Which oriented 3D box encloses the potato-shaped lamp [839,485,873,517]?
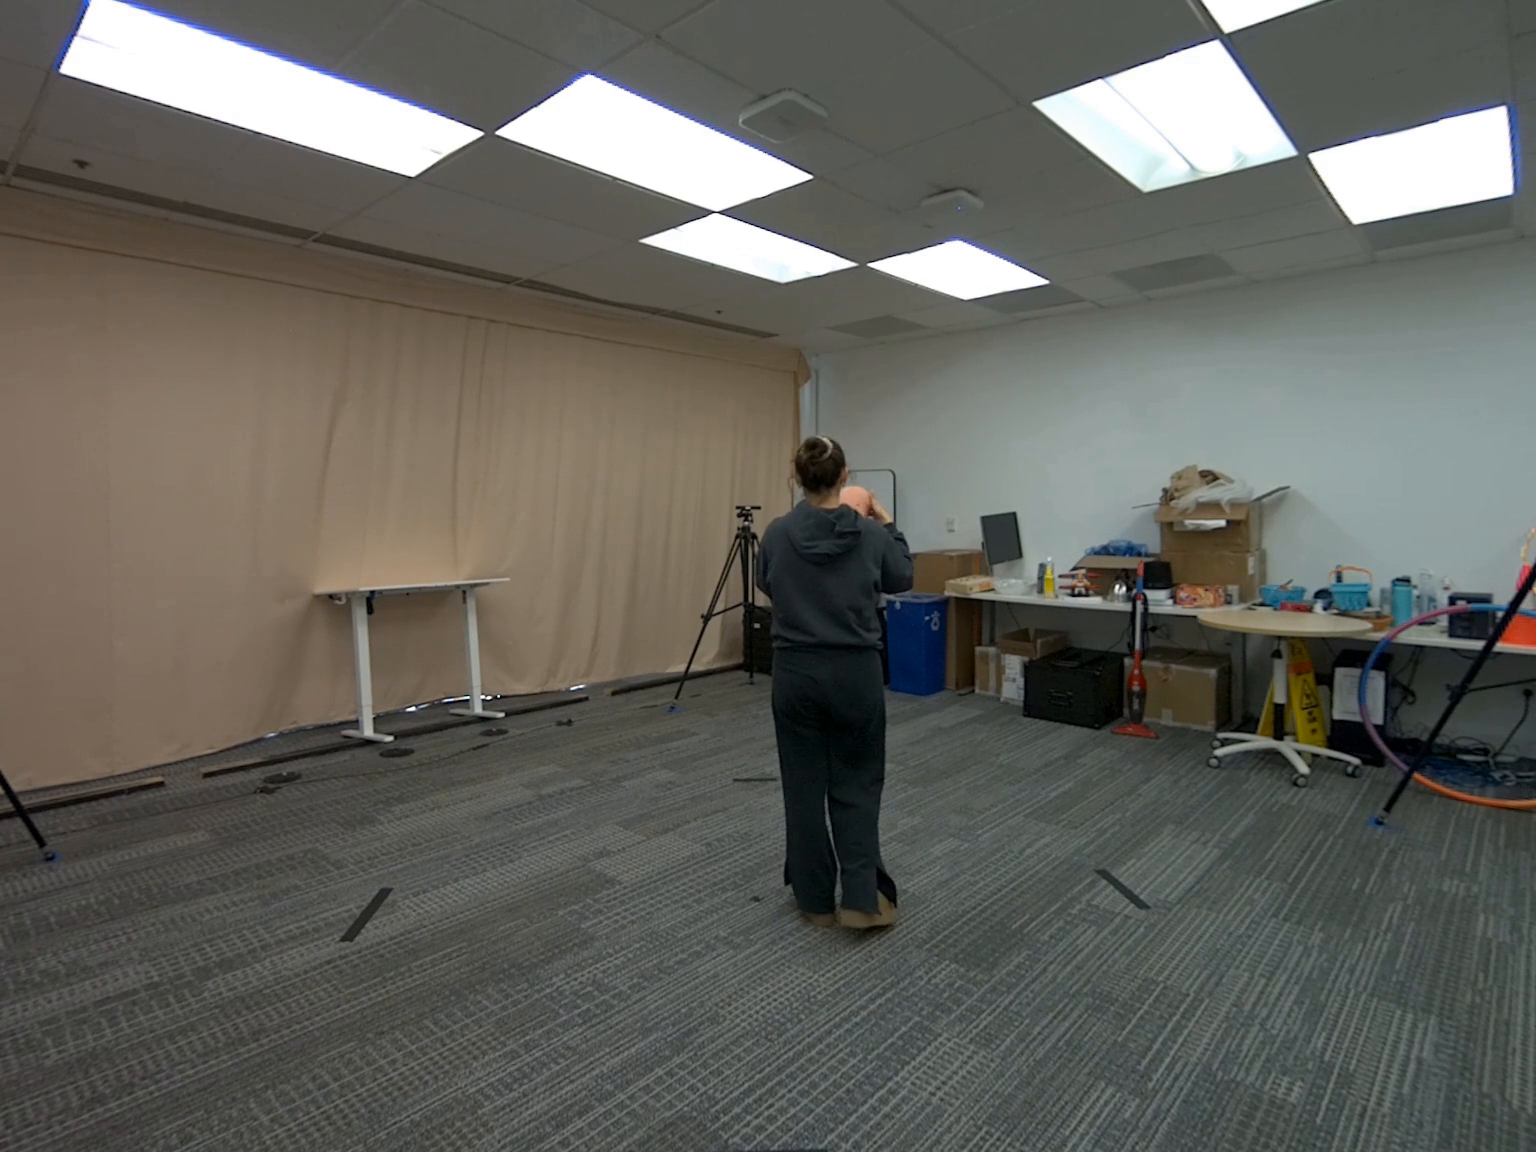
[{"bbox_3d":[0.308,-0.244,3.050,0.165,0.197,0.172,43,-16,0],"label":"potato-shaped lamp"}]
